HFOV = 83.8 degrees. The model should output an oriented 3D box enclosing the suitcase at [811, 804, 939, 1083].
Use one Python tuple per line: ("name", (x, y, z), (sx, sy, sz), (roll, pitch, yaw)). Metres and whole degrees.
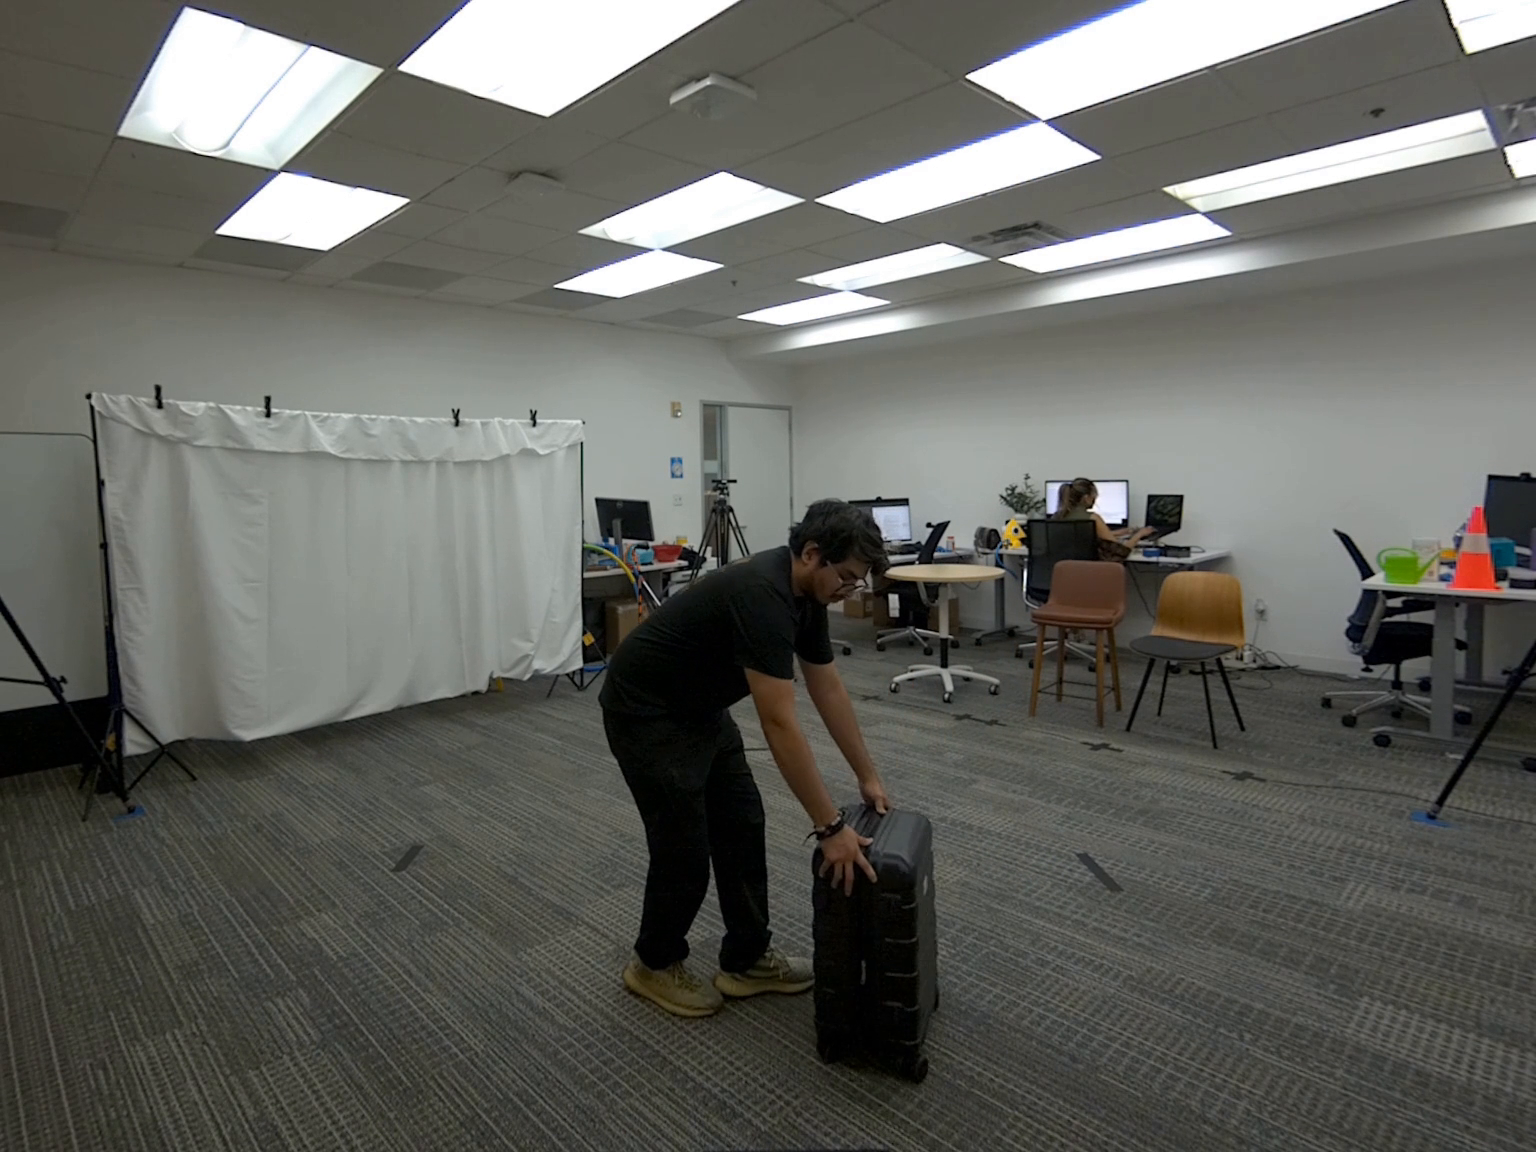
("suitcase", (0.275, 0.873, 2.141), (0.253, 0.547, 0.370), (0, 6, 20))
